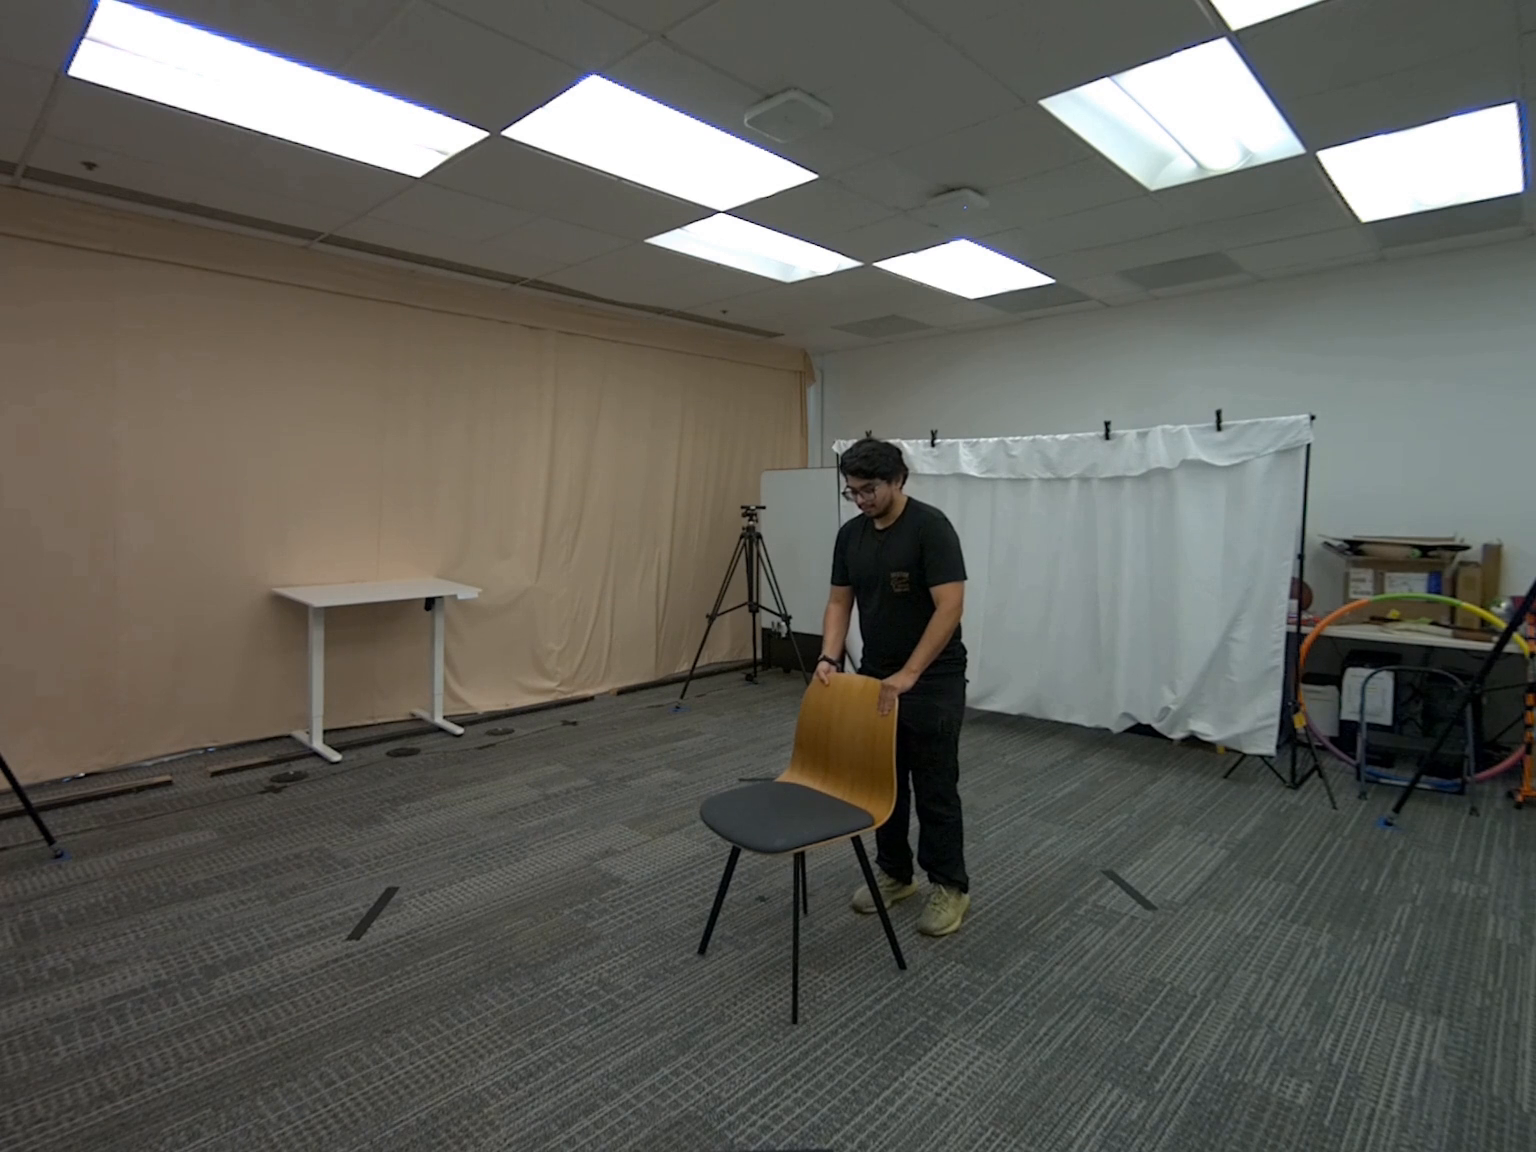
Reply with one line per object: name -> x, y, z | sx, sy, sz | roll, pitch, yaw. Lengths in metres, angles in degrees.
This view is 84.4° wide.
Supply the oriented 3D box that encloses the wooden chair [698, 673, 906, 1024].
wooden chair -> 0.097, 0.754, 2.538 | 0.506, 0.877, 0.494 | 3, 1, -38
